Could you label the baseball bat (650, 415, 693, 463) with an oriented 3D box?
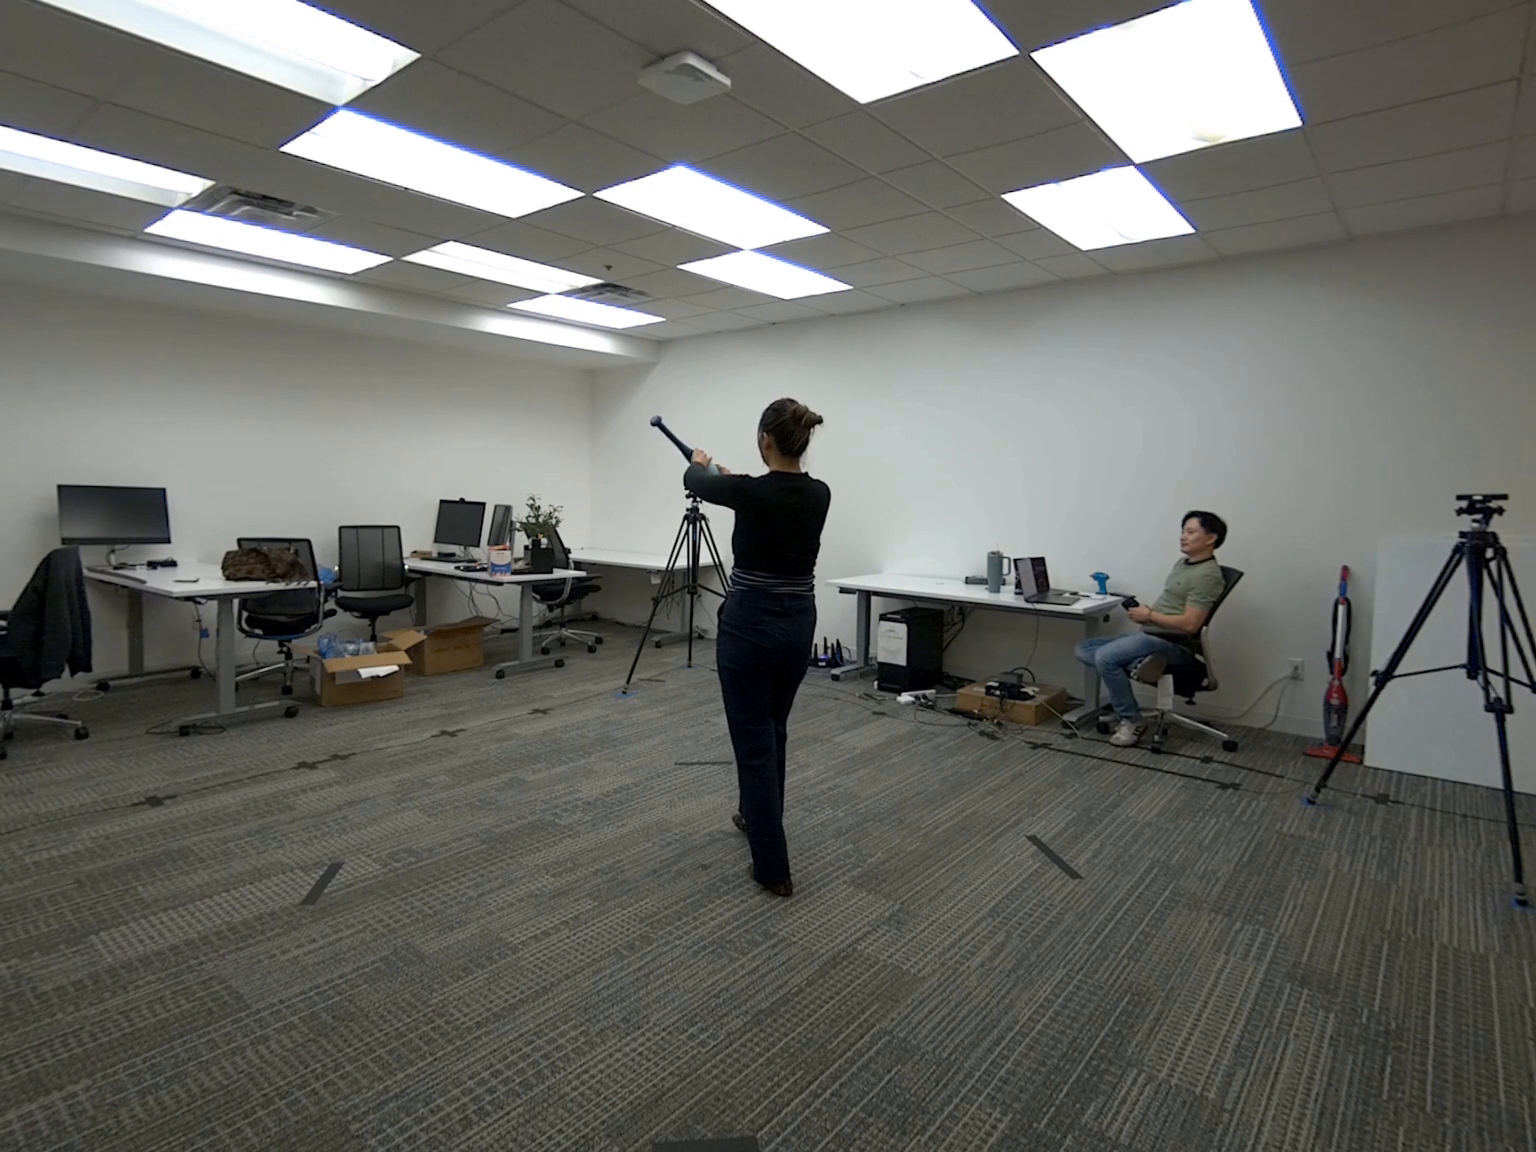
[{"bbox_3d":[-0.306,-0.473,3.448,0.092,0.090,0.521,4,-30,46],"label":"baseball bat"}]
